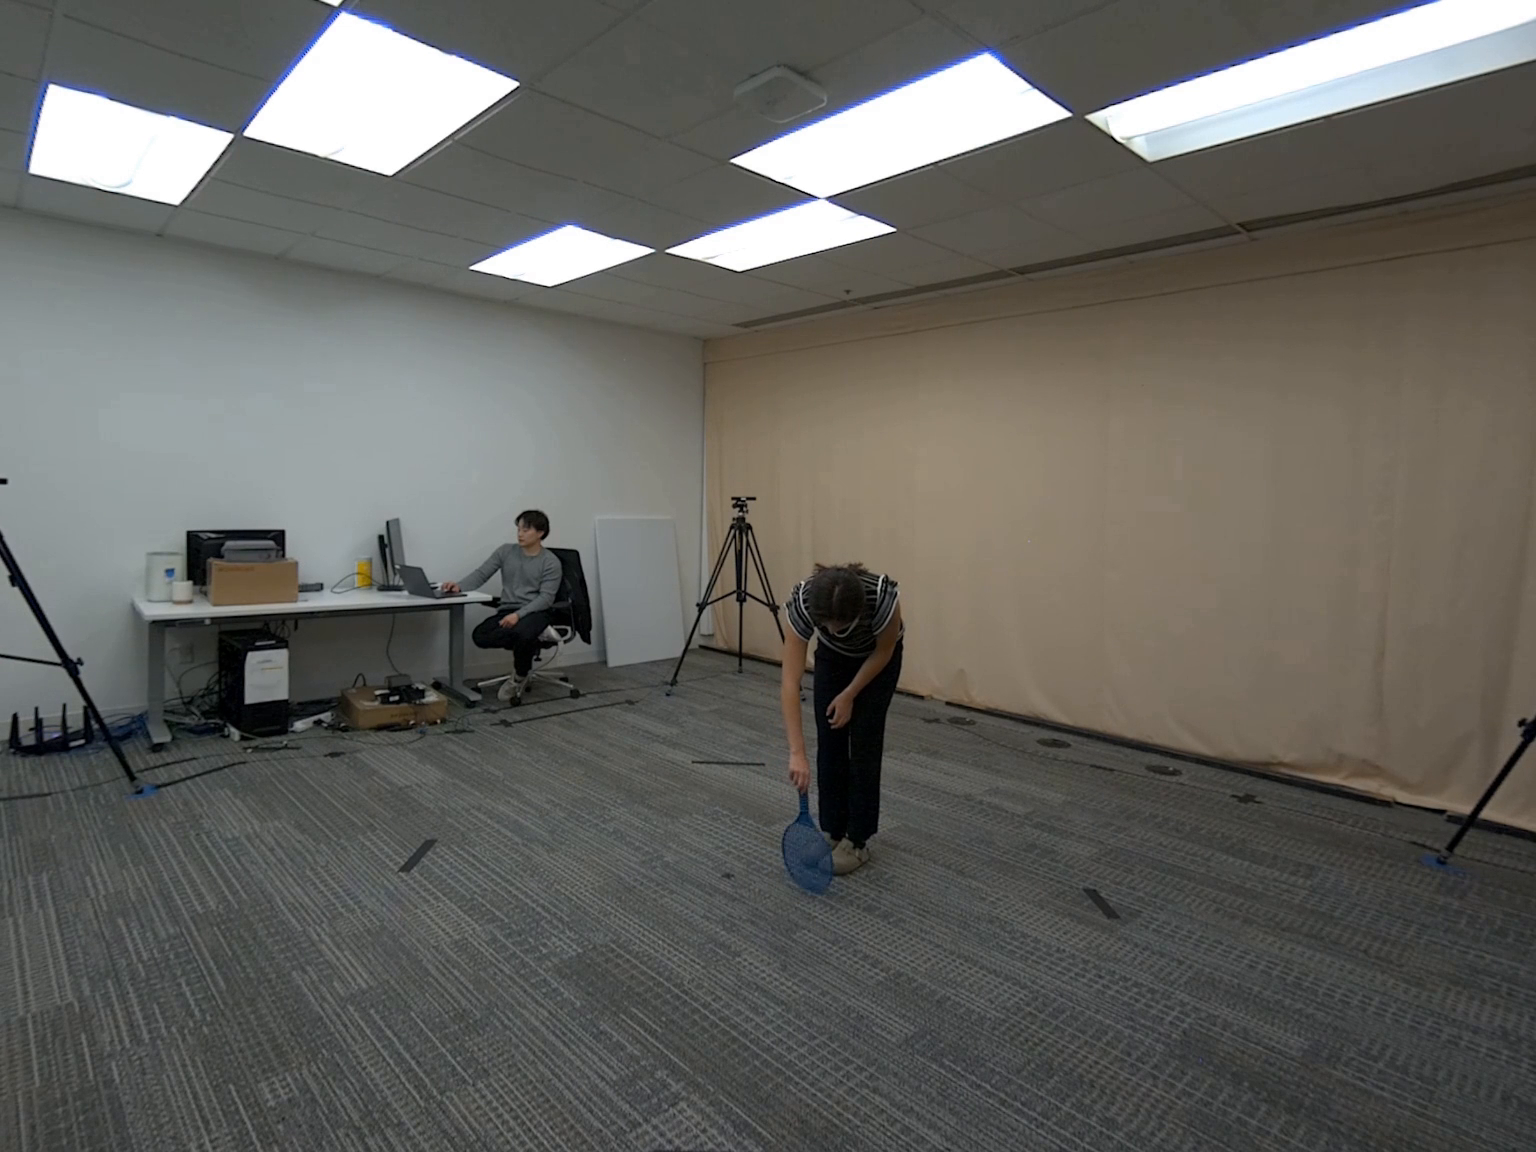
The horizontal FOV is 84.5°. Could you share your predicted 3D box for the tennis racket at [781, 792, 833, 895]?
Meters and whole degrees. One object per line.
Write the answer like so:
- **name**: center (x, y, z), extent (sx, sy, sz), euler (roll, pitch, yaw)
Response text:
- **tennis racket**: center (0.125, 0.912, 2.964), extent (0.219, 0.430, 0.031), euler (0, 10, 38)
